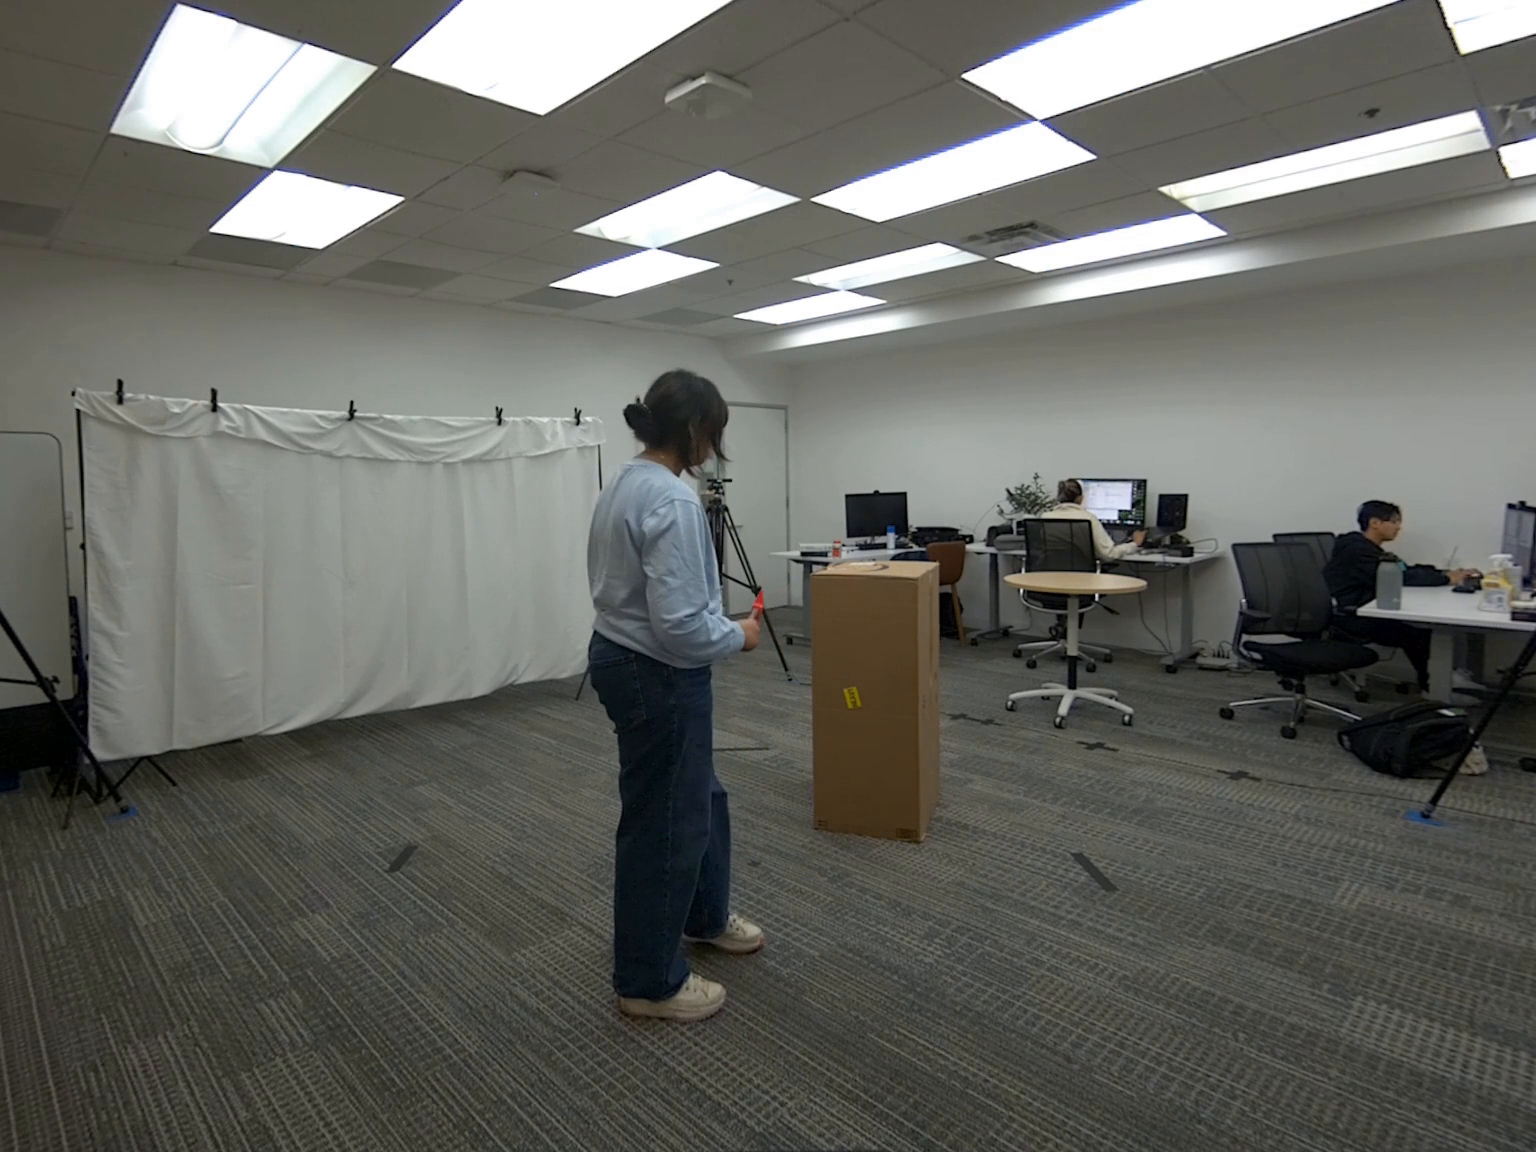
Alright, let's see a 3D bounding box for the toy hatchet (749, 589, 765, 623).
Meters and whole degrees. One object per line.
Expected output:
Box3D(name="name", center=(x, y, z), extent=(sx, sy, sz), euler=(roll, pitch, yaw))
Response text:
Box3D(name="toy hatchet", center=(-0.055, 0.145, 2.363), extent=(0.030, 0.129, 0.271), euler=(15, 27, 7))
